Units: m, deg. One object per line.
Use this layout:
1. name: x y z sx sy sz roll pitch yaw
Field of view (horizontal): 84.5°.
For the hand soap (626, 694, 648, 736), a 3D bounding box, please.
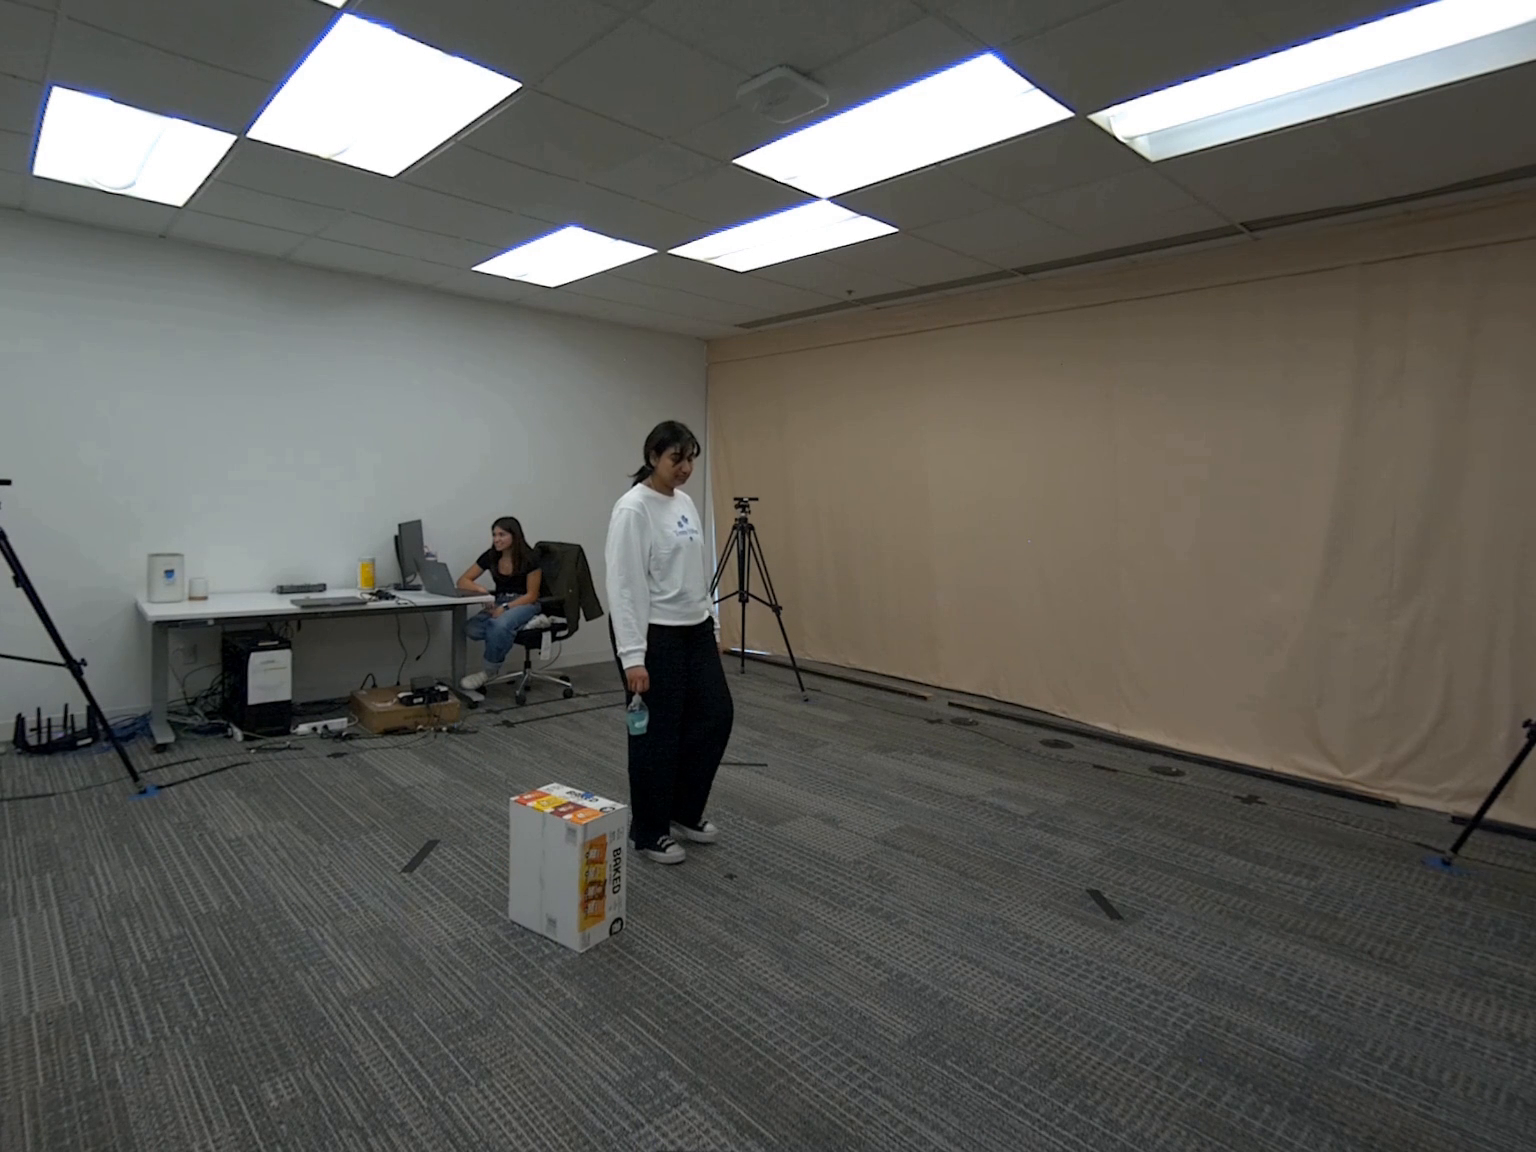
1. hand soap: -0.474 0.480 2.998 0.044 0.168 0.082 -4 -2 44
